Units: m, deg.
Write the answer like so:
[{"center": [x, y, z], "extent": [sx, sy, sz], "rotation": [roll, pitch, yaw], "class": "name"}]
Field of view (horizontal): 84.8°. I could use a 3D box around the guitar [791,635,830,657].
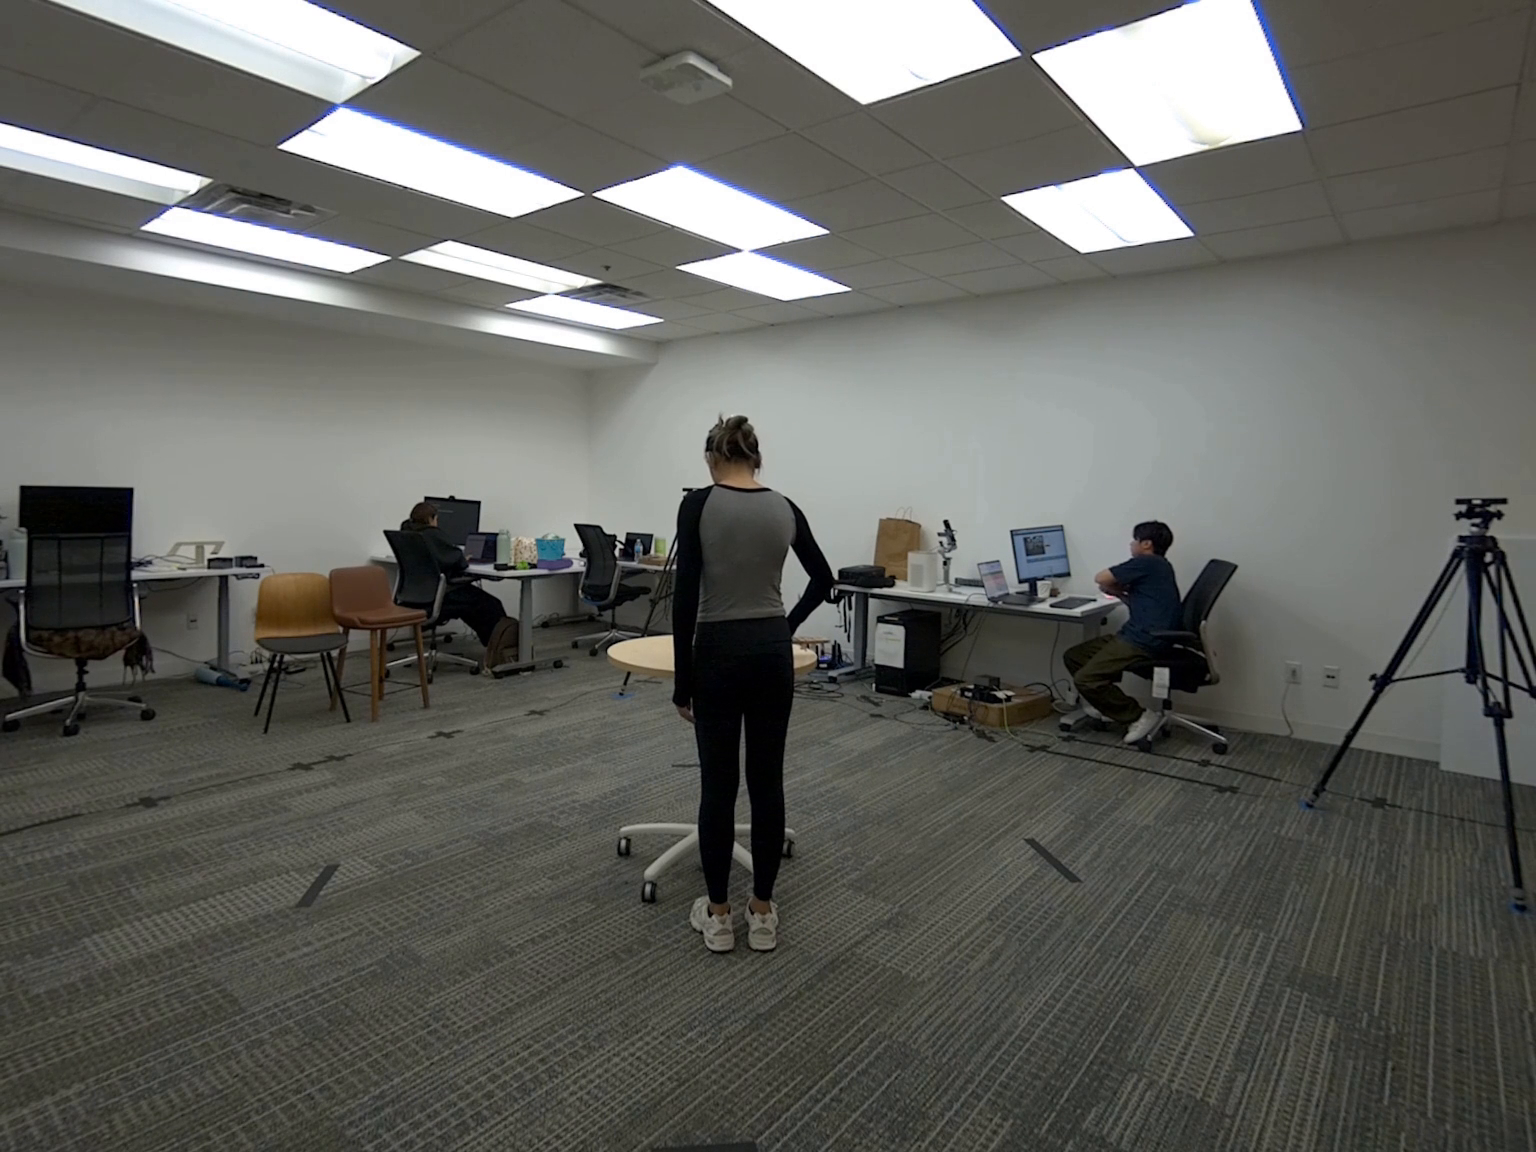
[{"center": [-0.003, 0.255, 2.998], "extent": [0.493, 0.070, 0.196], "rotation": [-1, 6, -8], "class": "guitar"}]
